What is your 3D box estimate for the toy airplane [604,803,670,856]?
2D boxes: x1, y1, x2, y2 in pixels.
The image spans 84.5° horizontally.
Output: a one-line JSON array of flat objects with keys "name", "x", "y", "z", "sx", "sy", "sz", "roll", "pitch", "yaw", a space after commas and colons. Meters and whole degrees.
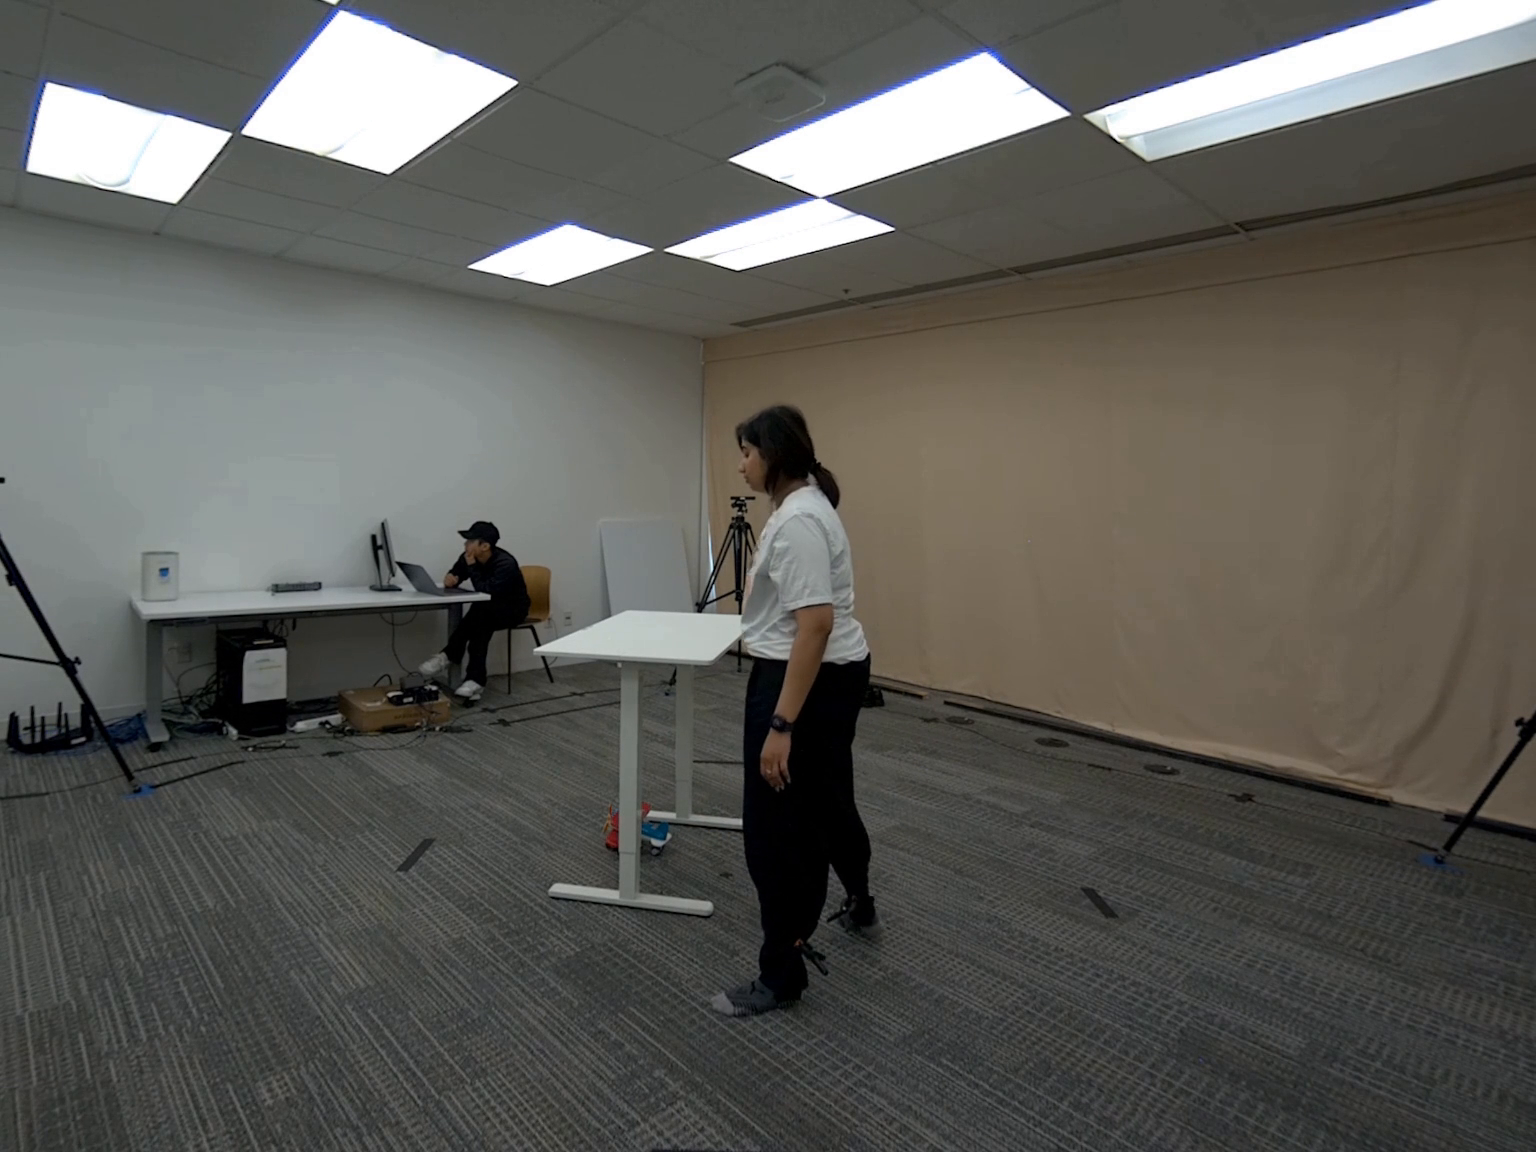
[{"name": "toy airplane", "x": -0.522, "y": 1.003, "z": 3.325, "sx": 0.257, "sy": 0.156, "sz": 0.253, "roll": -1, "pitch": 5, "yaw": -9}]
